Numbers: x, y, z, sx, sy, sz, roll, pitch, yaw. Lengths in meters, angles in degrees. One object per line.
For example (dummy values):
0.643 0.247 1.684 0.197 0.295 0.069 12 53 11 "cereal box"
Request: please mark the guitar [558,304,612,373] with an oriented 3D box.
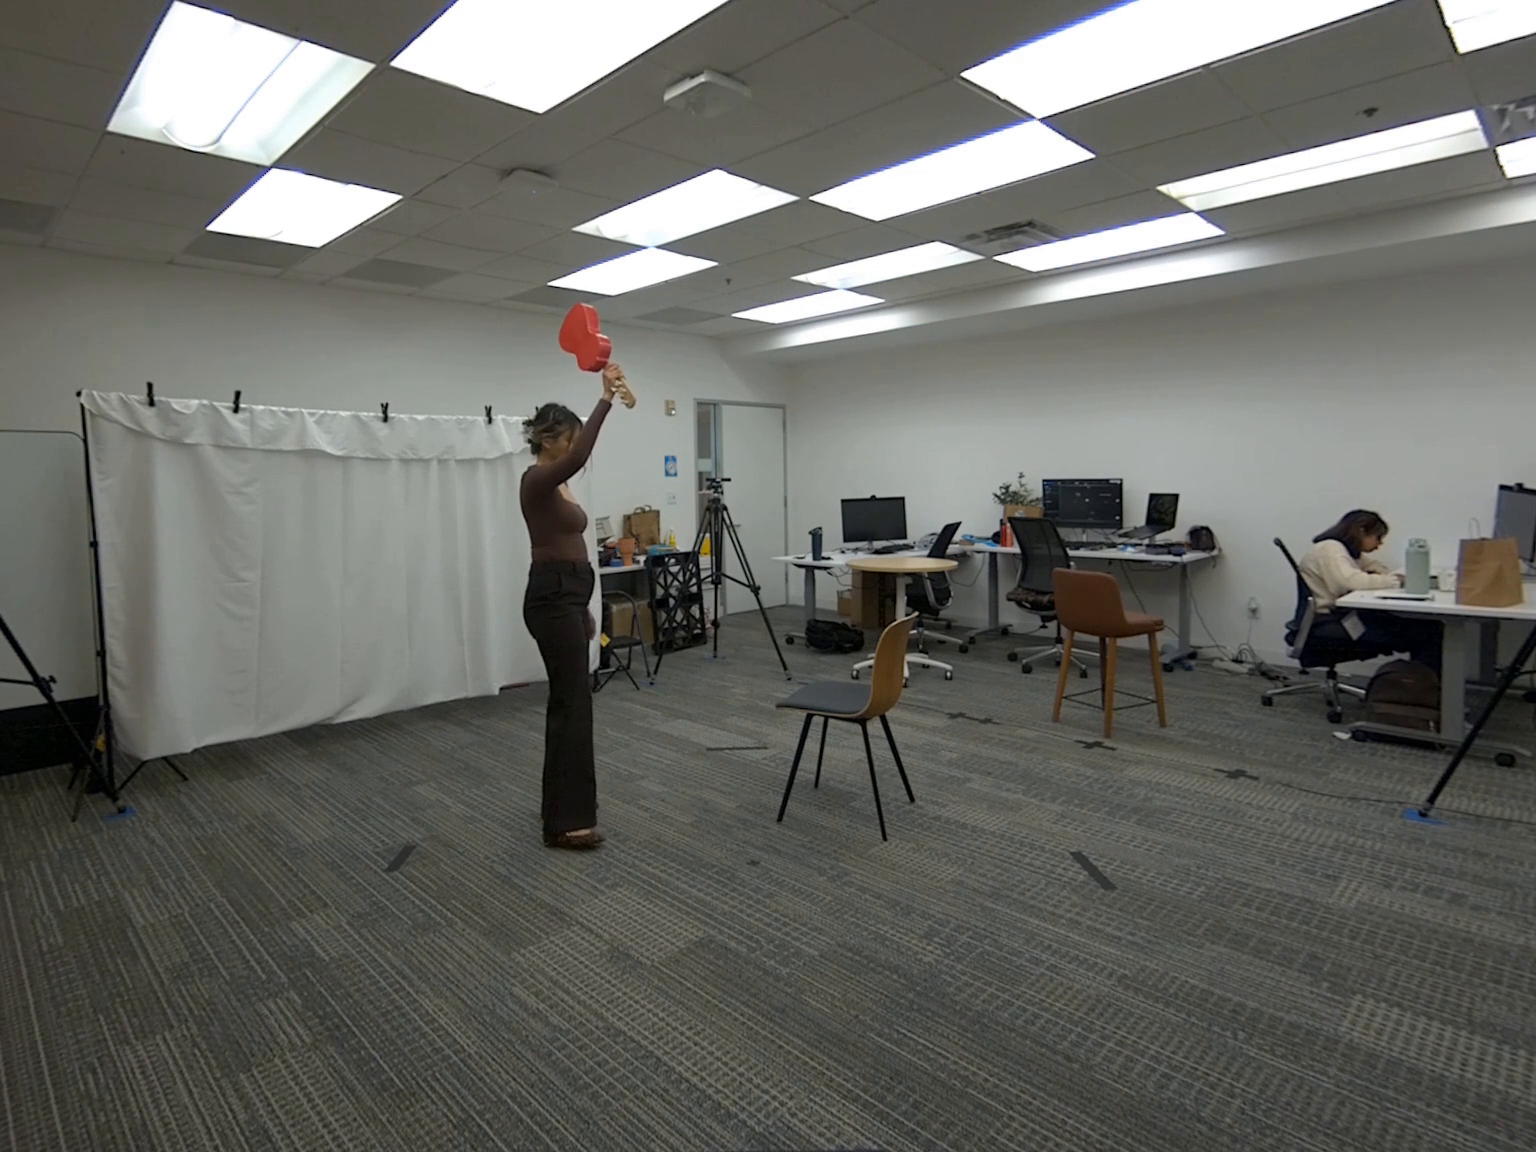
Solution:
-0.618 -0.826 3.184 0.069 0.192 0.516 0 40 -48 "guitar"
